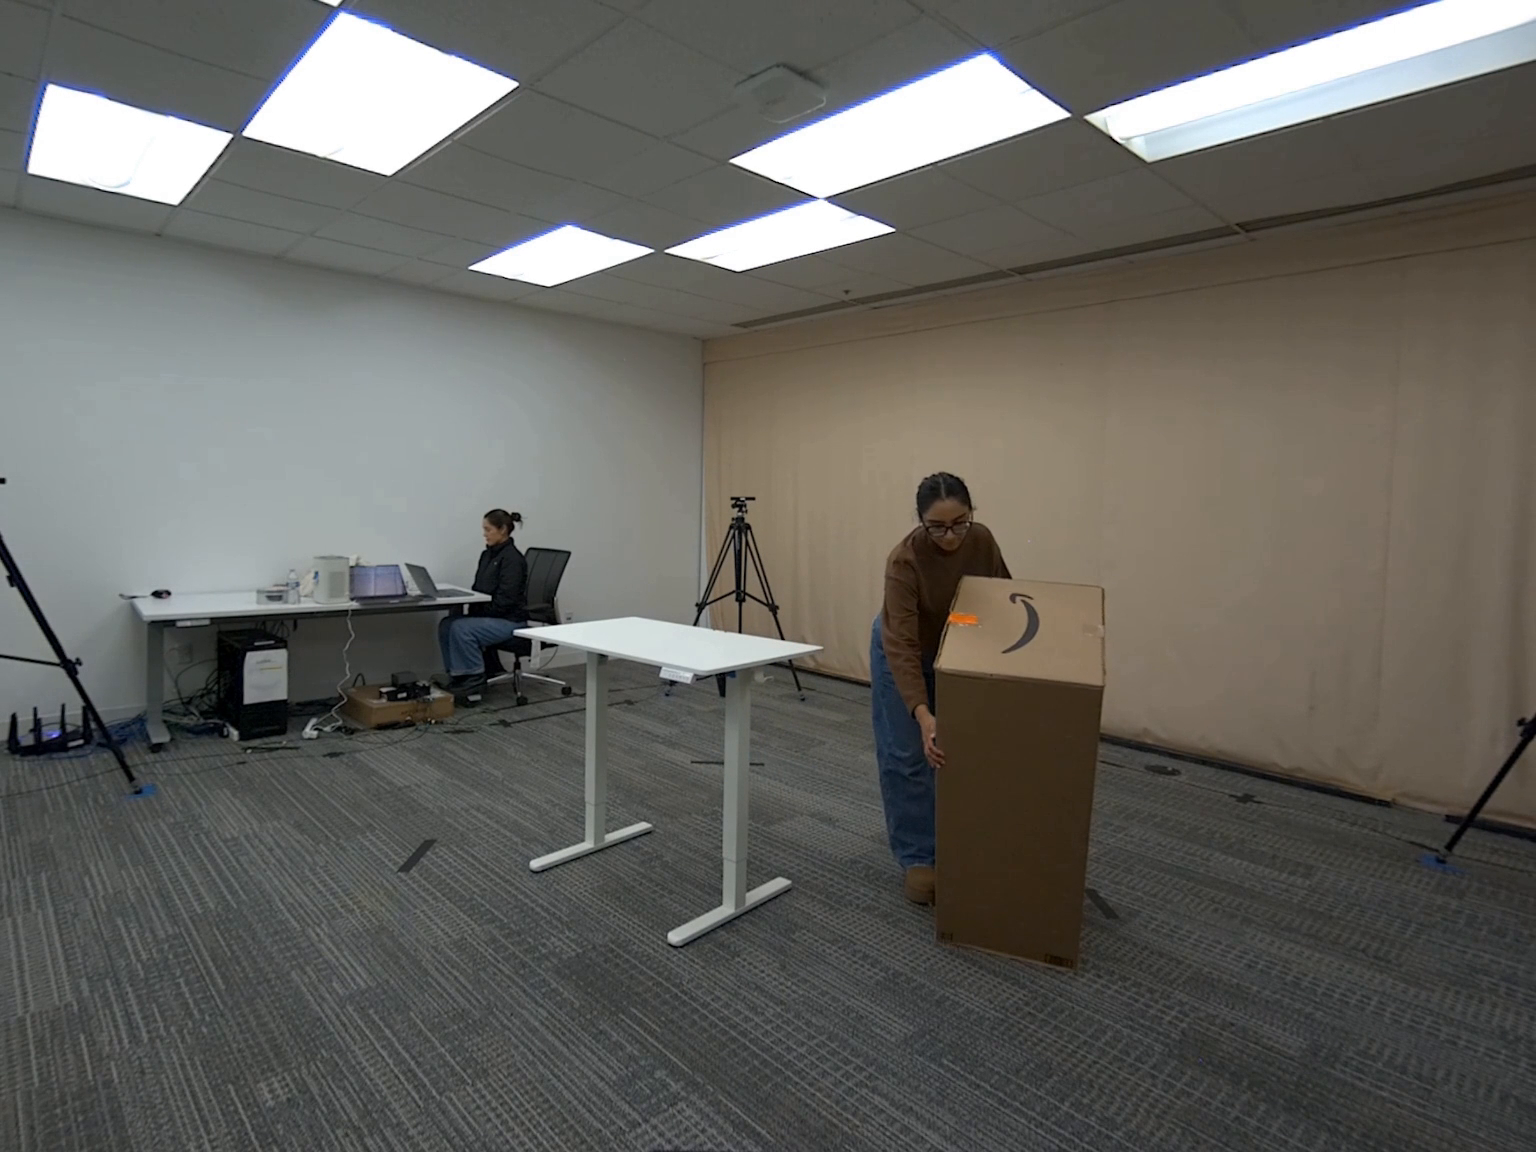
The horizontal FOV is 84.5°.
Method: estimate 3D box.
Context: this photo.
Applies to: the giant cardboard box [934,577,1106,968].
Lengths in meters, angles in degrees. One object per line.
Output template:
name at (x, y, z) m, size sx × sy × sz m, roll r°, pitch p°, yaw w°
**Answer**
giant cardboard box at (0.779, 0.595, 2.629) m, size 0.433 × 1.008 × 0.578 m, roll 3°, pitch 25°, yaw 19°
